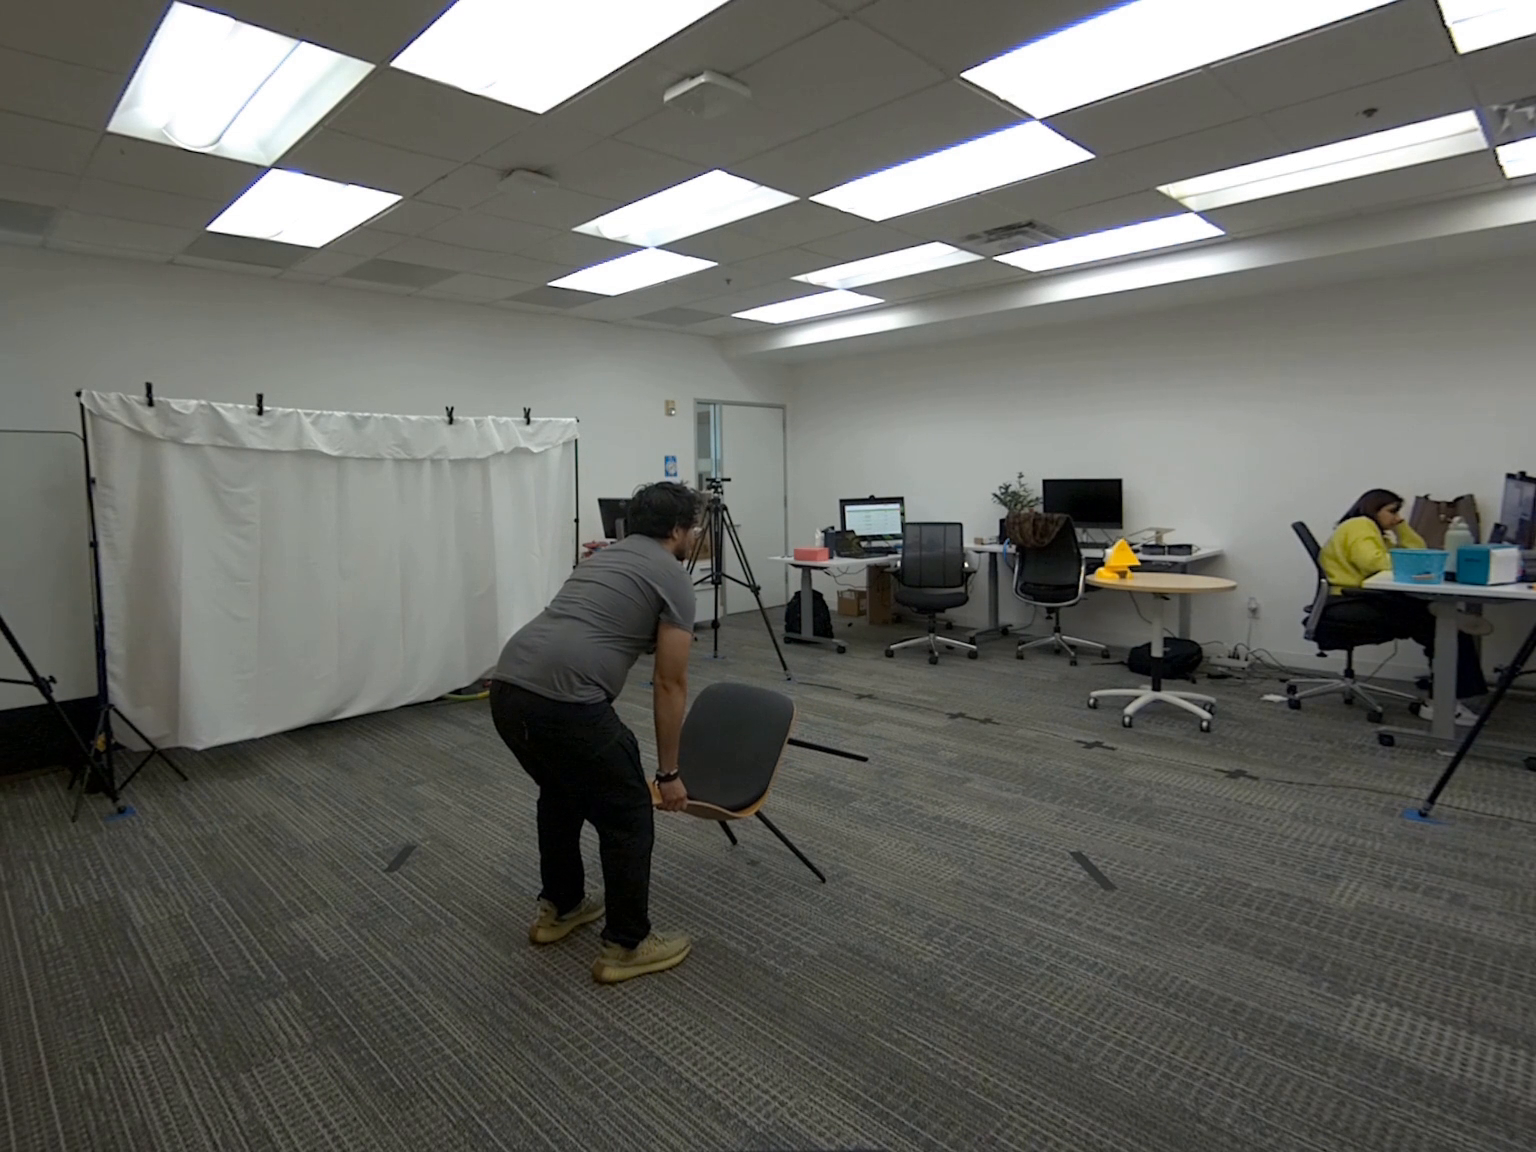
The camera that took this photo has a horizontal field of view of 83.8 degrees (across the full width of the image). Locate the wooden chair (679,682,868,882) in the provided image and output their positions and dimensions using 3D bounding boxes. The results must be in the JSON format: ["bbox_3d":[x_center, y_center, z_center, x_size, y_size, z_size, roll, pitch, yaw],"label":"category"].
[{"bbox_3d":[-0.119,0.630,2.924,0.493,0.527,0.843,4,-23,44],"label":"wooden chair"}]
